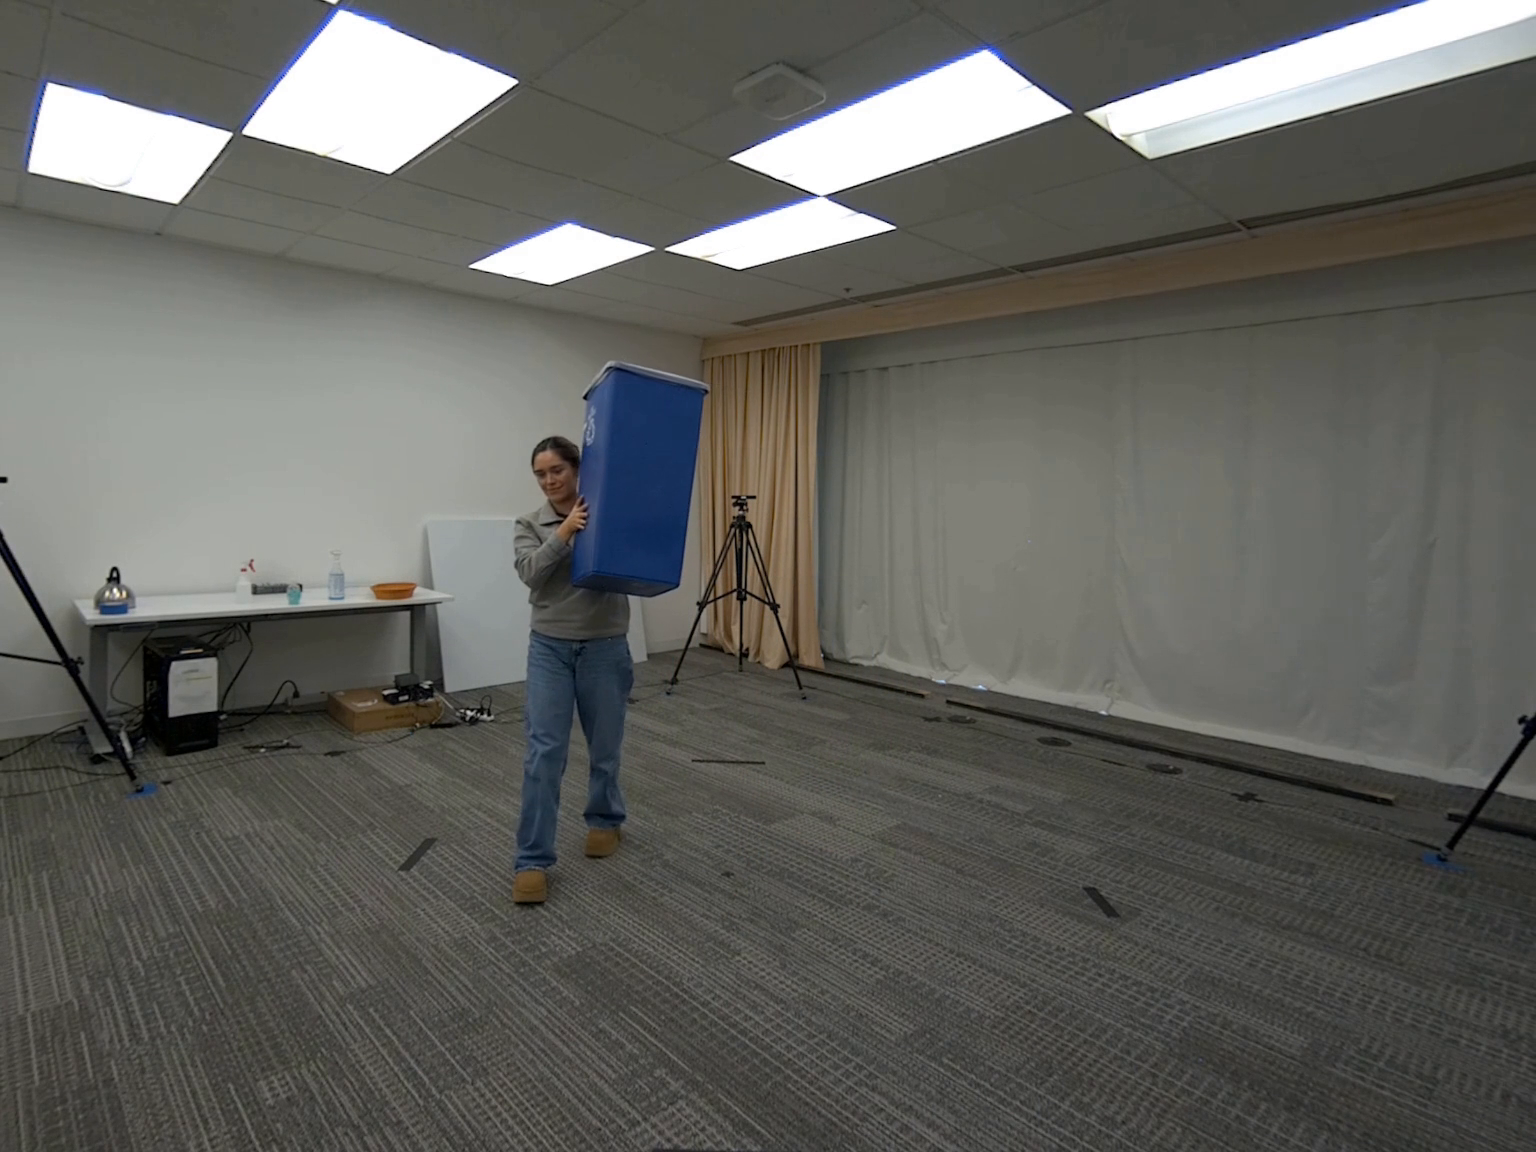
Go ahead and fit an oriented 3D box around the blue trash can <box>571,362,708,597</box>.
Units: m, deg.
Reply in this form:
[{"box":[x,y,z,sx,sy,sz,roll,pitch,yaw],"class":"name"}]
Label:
[{"box":[-0.459,-0.323,2.909,0.370,0.720,0.378,10,-14,-25],"class":"blue trash can"}]
